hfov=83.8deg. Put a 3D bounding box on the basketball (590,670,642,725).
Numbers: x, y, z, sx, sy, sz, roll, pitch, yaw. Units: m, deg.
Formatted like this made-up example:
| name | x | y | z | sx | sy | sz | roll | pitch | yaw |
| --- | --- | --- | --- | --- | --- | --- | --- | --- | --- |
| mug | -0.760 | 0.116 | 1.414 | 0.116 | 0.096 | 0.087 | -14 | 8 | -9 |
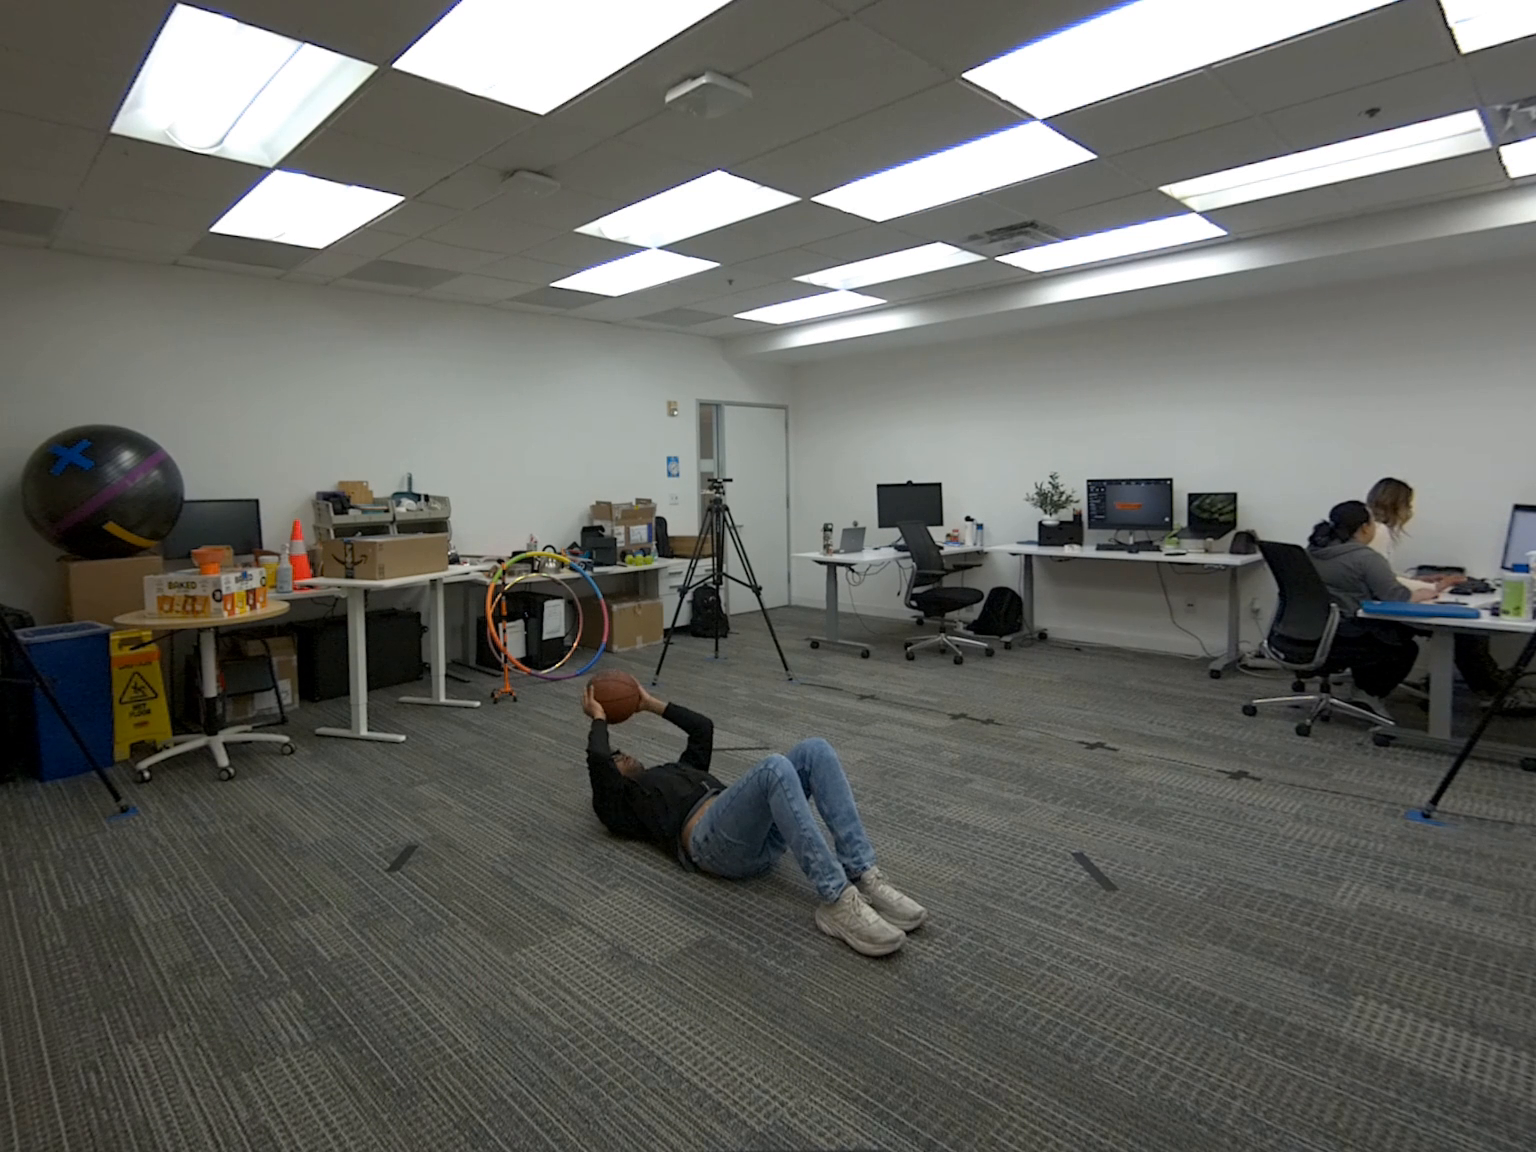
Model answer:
| name | x | y | z | sx | sy | sz | roll | pitch | yaw |
| --- | --- | --- | --- | --- | --- | --- | --- | --- | --- |
| basketball | -0.672 | 0.531 | 3.692 | 0.236 | 0.235 | 0.237 | -1 | 5 | -2 |
